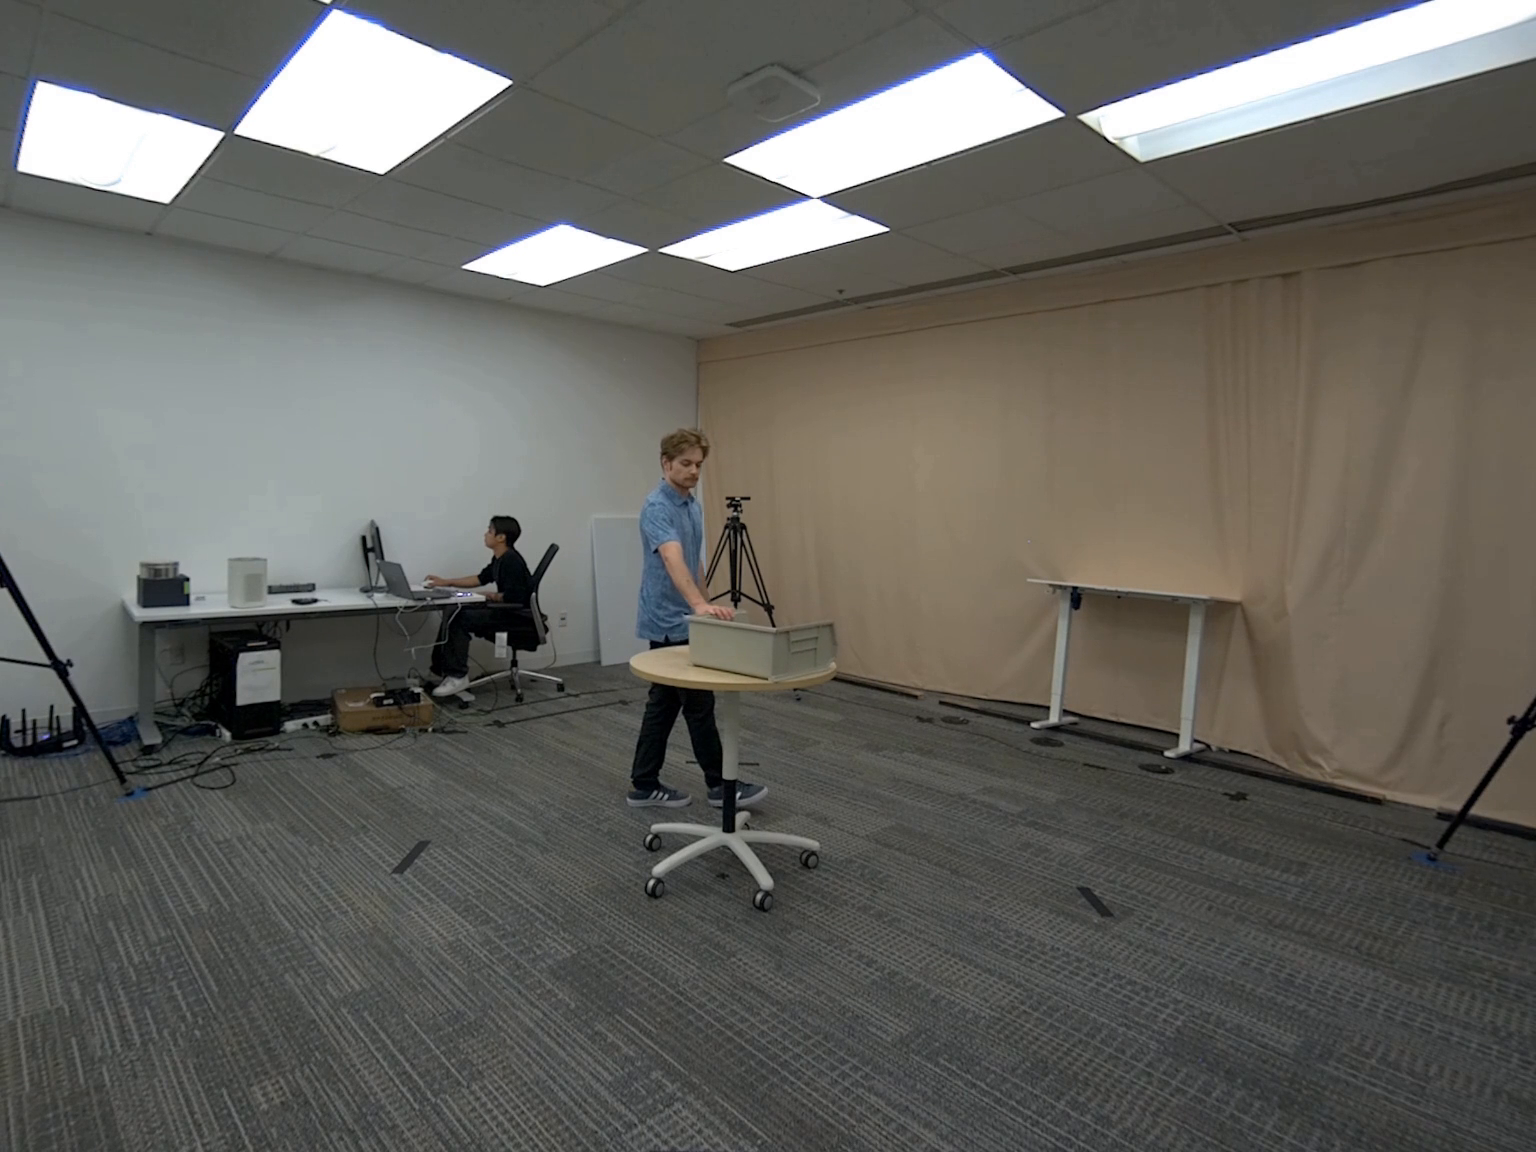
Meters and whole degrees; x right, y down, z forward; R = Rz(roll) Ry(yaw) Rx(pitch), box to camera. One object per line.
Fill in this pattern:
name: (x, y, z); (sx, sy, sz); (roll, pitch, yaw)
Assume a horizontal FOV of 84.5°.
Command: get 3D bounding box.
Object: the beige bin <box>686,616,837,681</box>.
beige bin: (-0.030, 0.240, 3.039); (0.433, 0.188, 0.369); (5, 7, 39)
